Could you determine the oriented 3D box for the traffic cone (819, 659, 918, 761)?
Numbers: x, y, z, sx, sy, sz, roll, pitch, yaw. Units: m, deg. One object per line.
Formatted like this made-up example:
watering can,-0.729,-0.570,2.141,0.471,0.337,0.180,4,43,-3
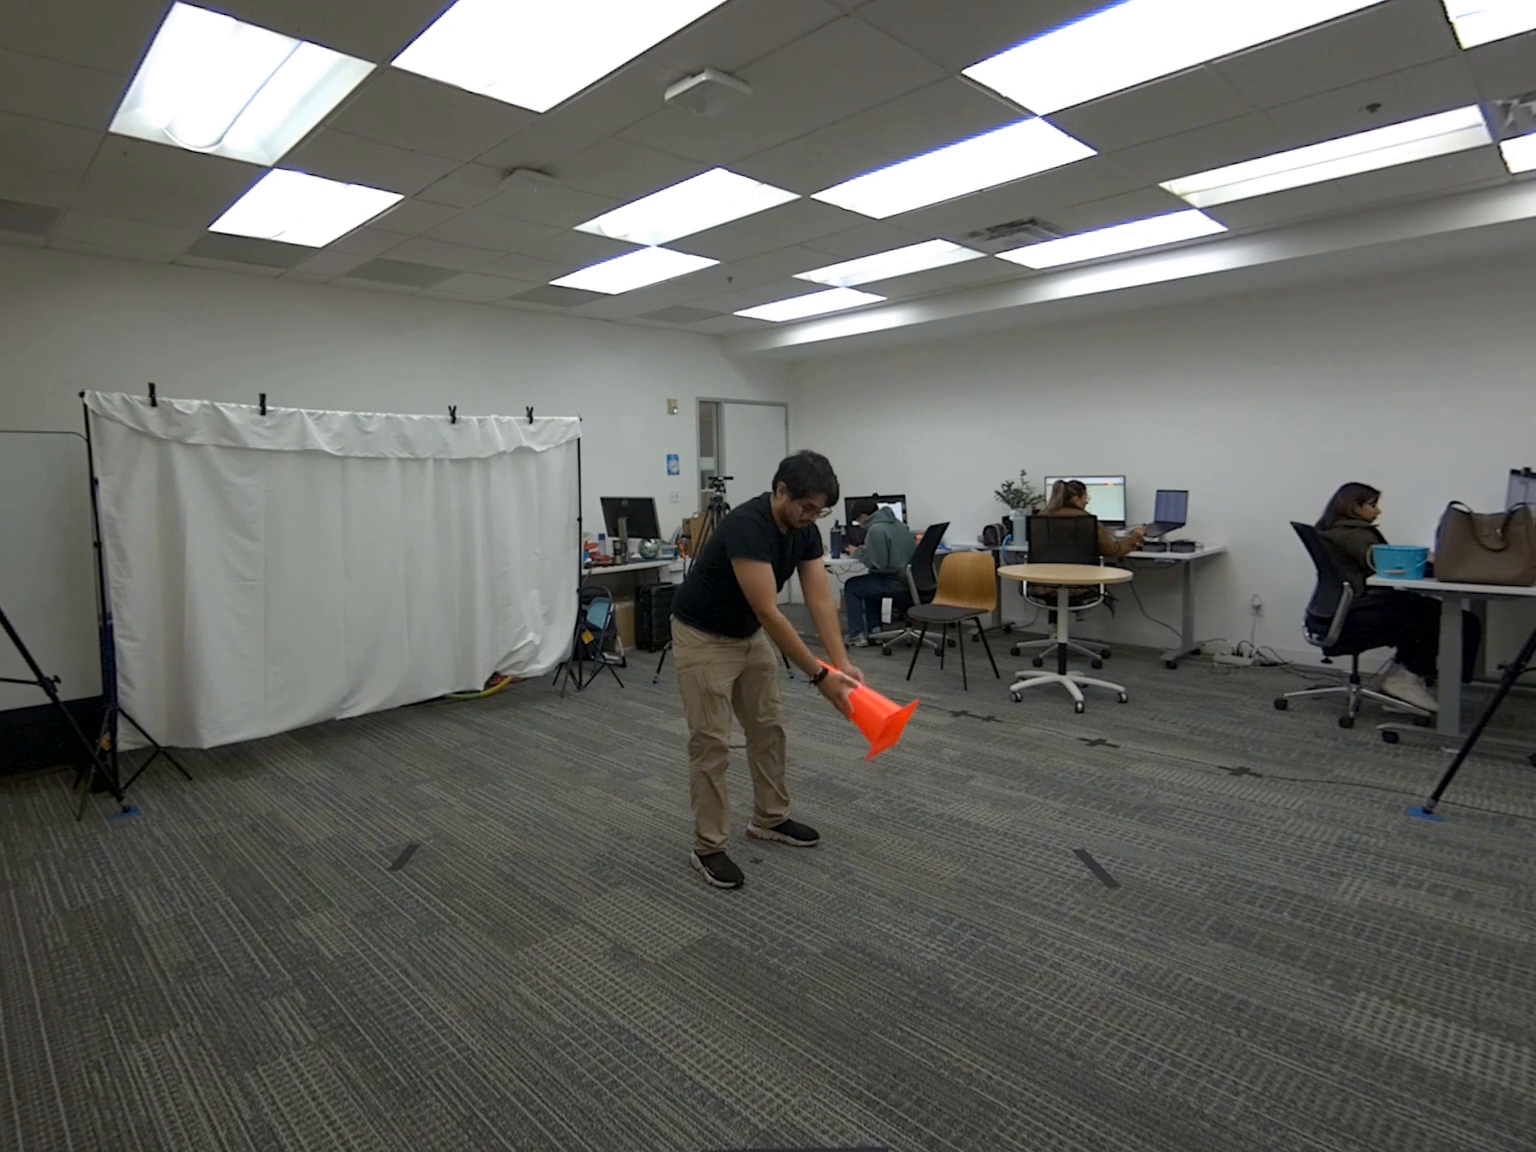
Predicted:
traffic cone,0.269,0.372,2.812,0.200,0.201,0.397,-12,43,-46
